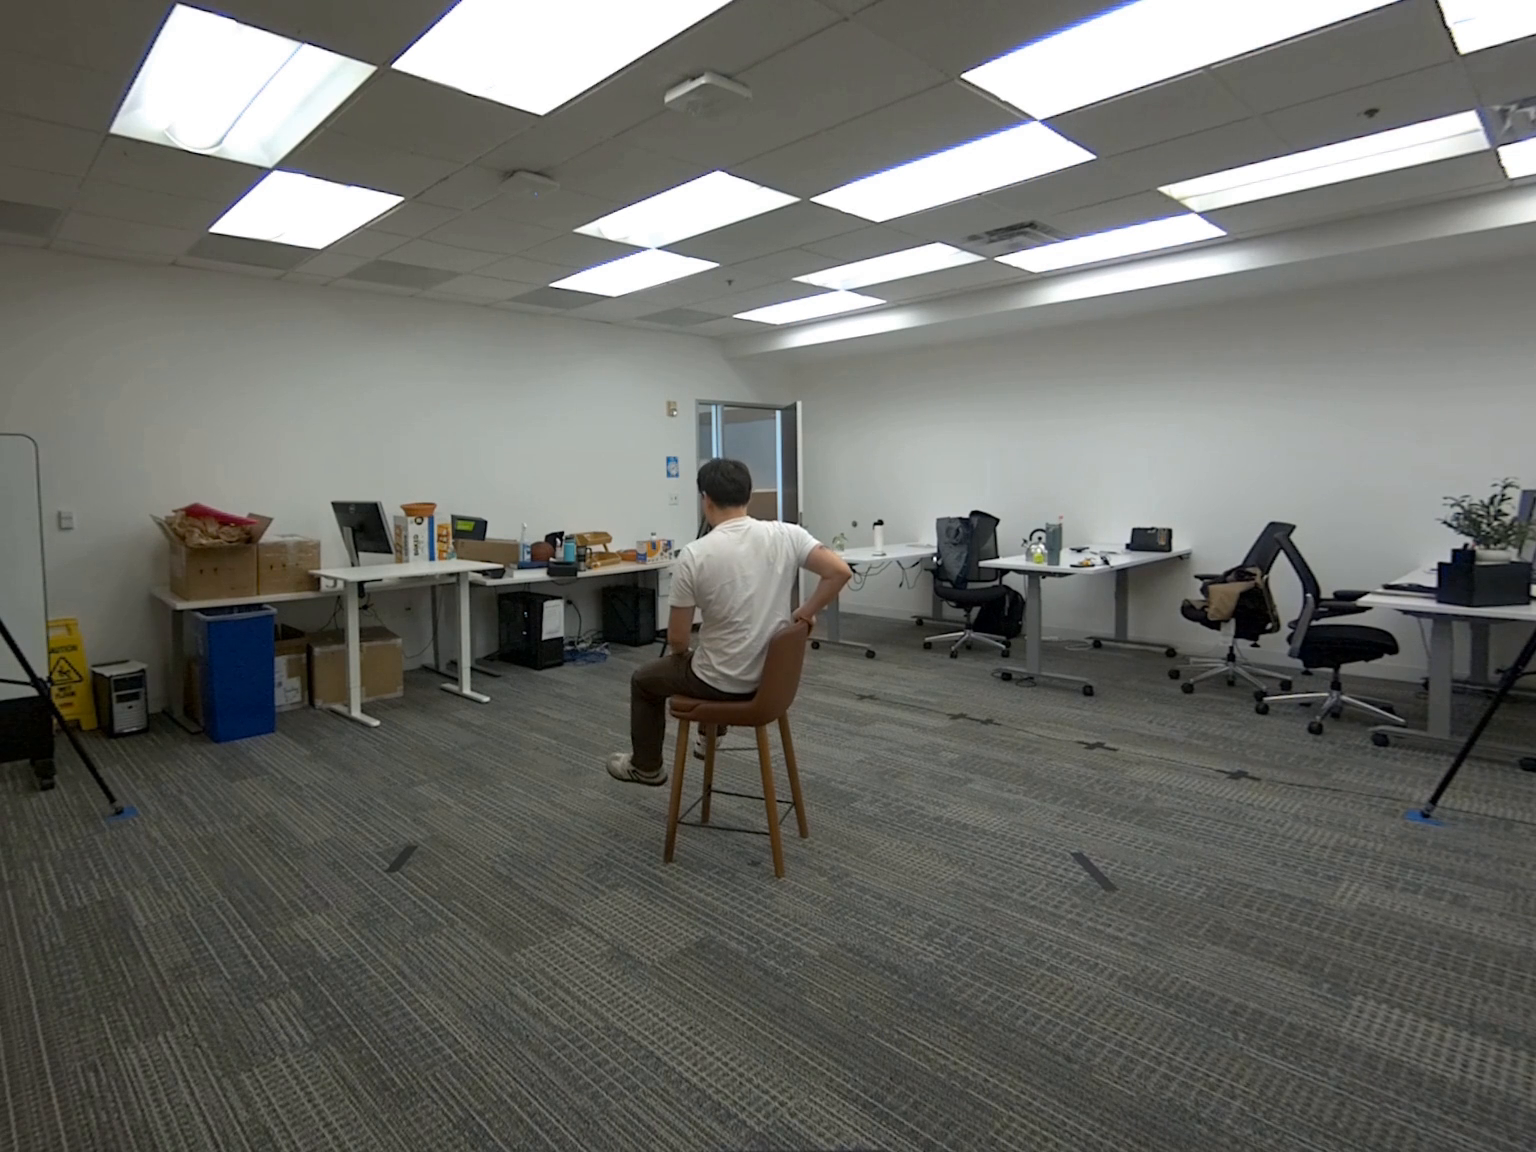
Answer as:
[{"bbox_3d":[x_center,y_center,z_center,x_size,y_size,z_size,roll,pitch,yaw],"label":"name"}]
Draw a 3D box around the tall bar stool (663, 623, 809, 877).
[{"bbox_3d":[-0.102,0.600,3.210,0.477,0.886,0.449,3,5,20],"label":"tall bar stool"}]
